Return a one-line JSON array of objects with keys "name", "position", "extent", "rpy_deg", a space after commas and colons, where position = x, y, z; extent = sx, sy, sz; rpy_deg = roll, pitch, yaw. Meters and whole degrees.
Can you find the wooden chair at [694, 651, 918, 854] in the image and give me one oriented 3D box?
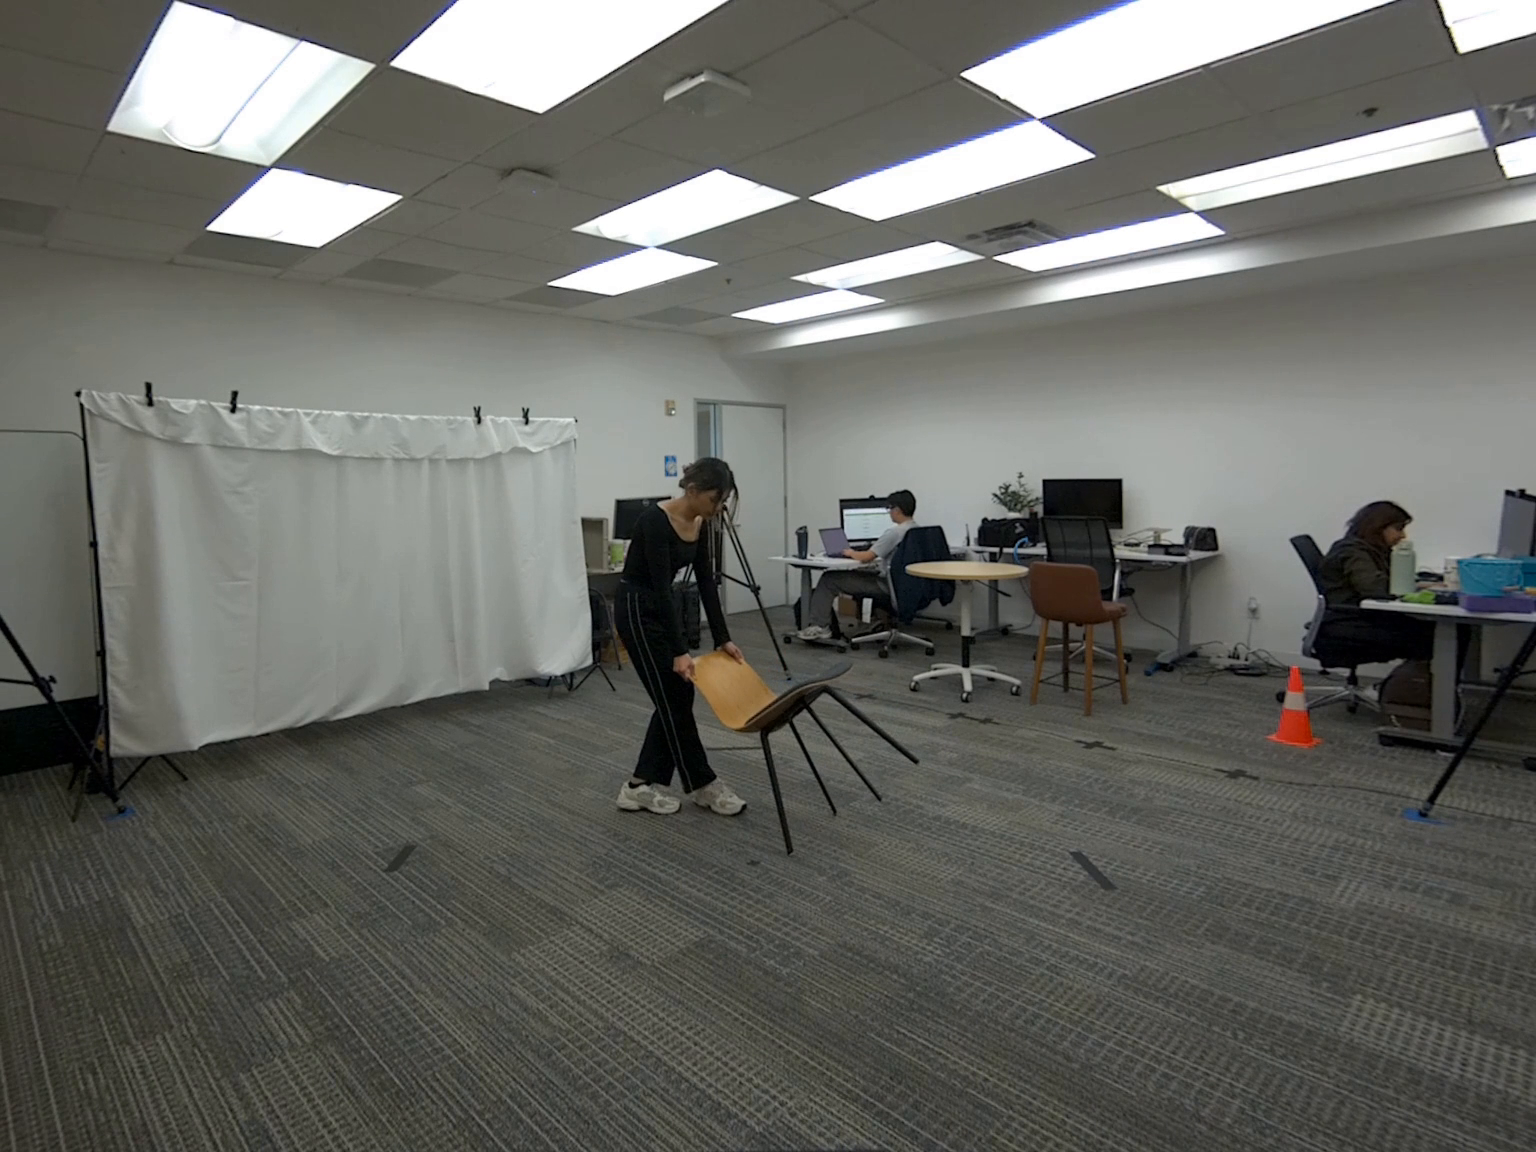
[{"name": "wooden chair", "position": [0.103, 0.526, 3.355], "extent": [0.523, 0.896, 0.467], "rpy_deg": [-45, -17, 25]}]
